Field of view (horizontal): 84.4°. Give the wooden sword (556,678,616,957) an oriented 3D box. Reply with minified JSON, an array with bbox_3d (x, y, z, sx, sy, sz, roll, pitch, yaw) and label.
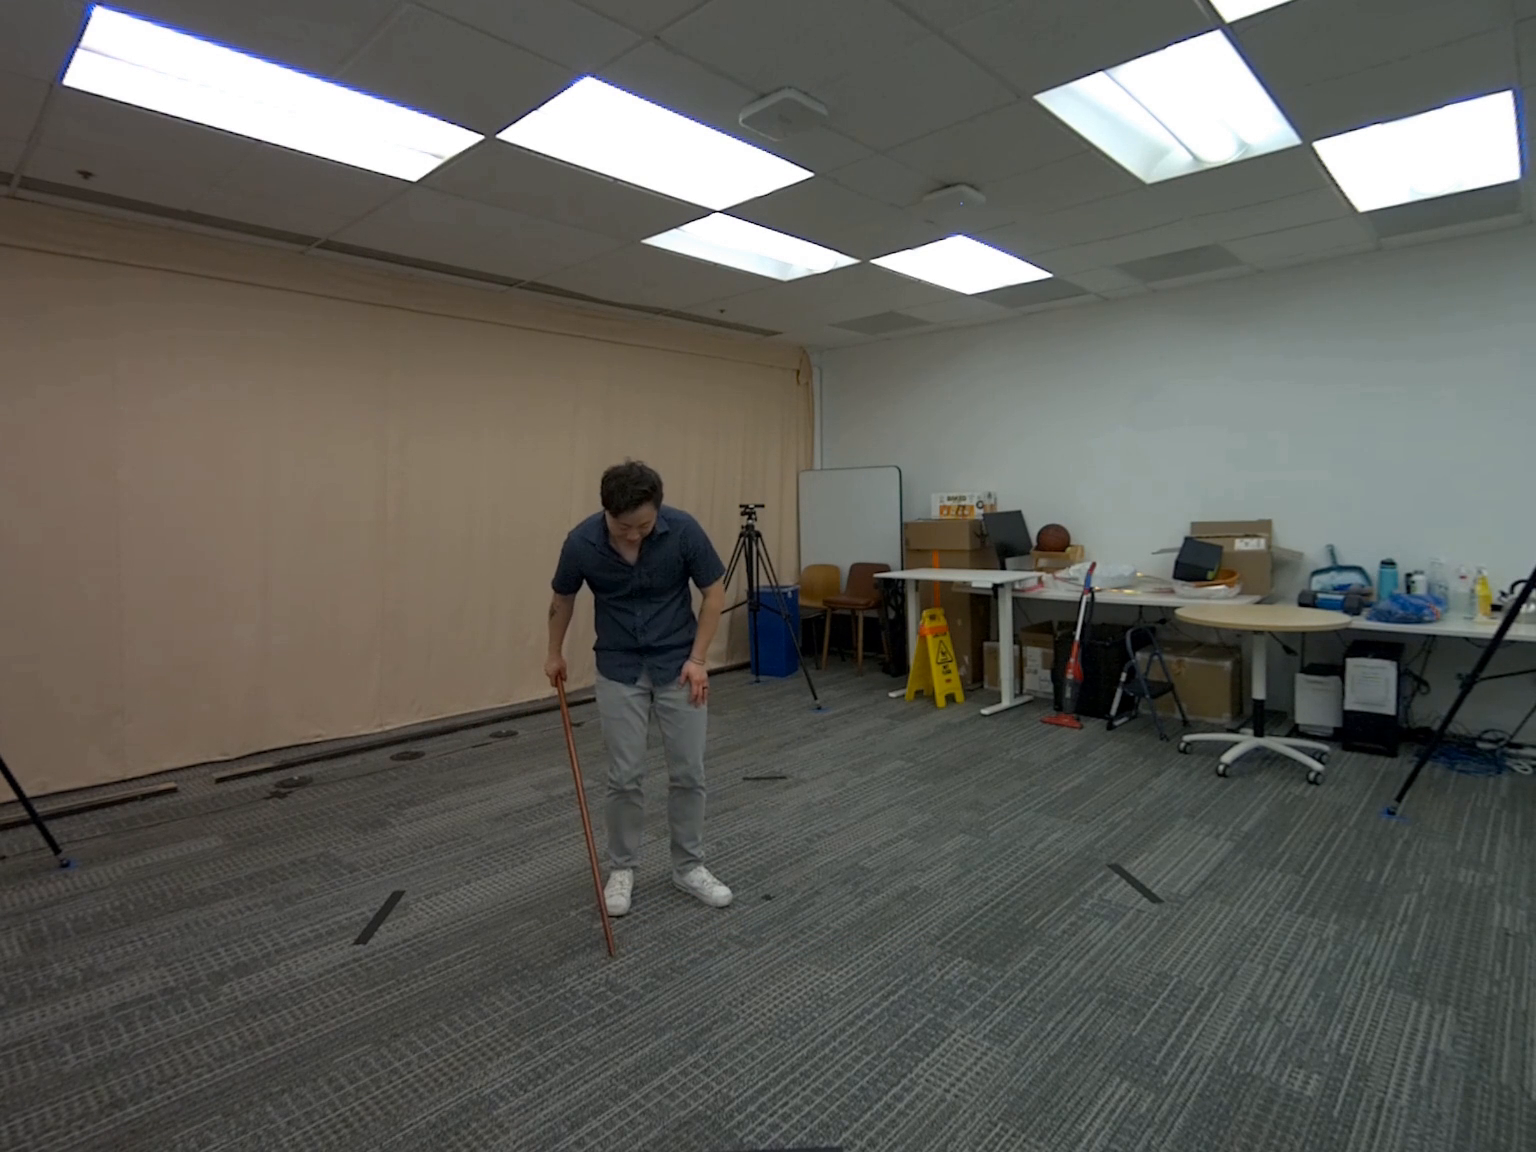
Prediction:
[{"bbox_3d":[-0.623,0.775,2.869,0.051,1.051,0.023,-16,-31,-9],"label":"wooden sword"}]
